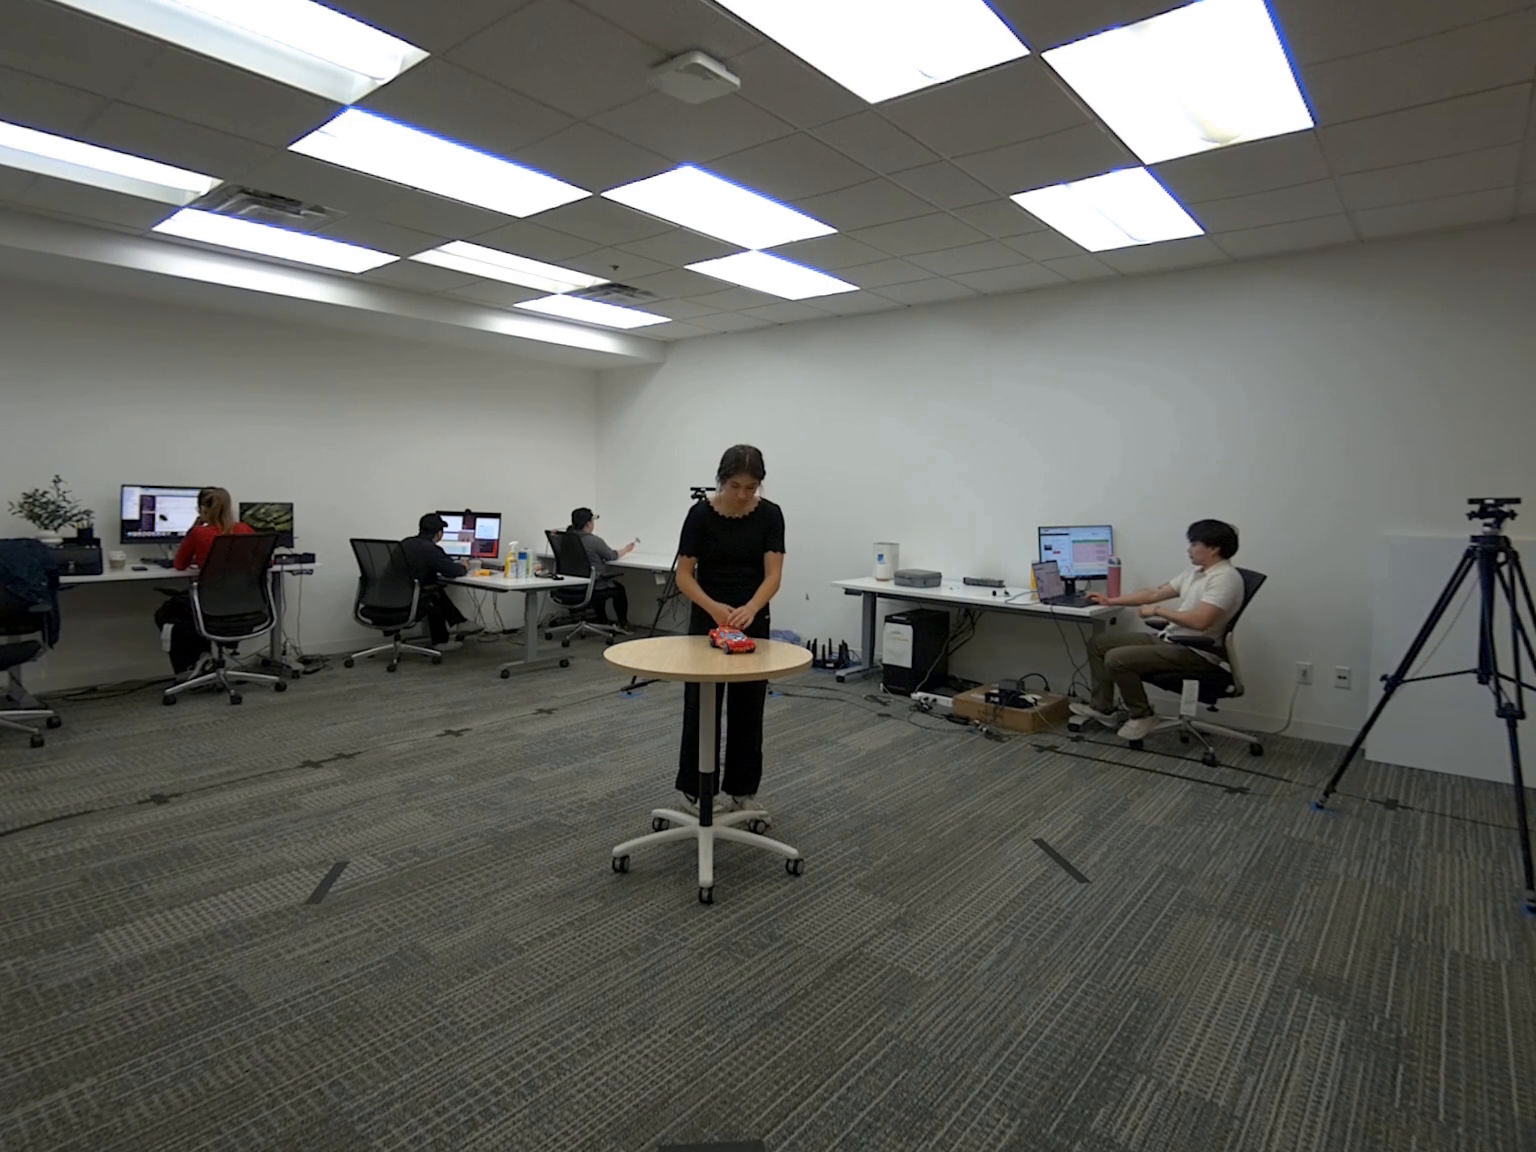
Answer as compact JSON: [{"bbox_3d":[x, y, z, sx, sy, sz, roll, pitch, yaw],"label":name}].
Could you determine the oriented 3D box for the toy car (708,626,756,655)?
[{"bbox_3d":[-0.157,0.239,3.216,0.127,0.082,0.263,-2,16,-23],"label":"toy car"}]
